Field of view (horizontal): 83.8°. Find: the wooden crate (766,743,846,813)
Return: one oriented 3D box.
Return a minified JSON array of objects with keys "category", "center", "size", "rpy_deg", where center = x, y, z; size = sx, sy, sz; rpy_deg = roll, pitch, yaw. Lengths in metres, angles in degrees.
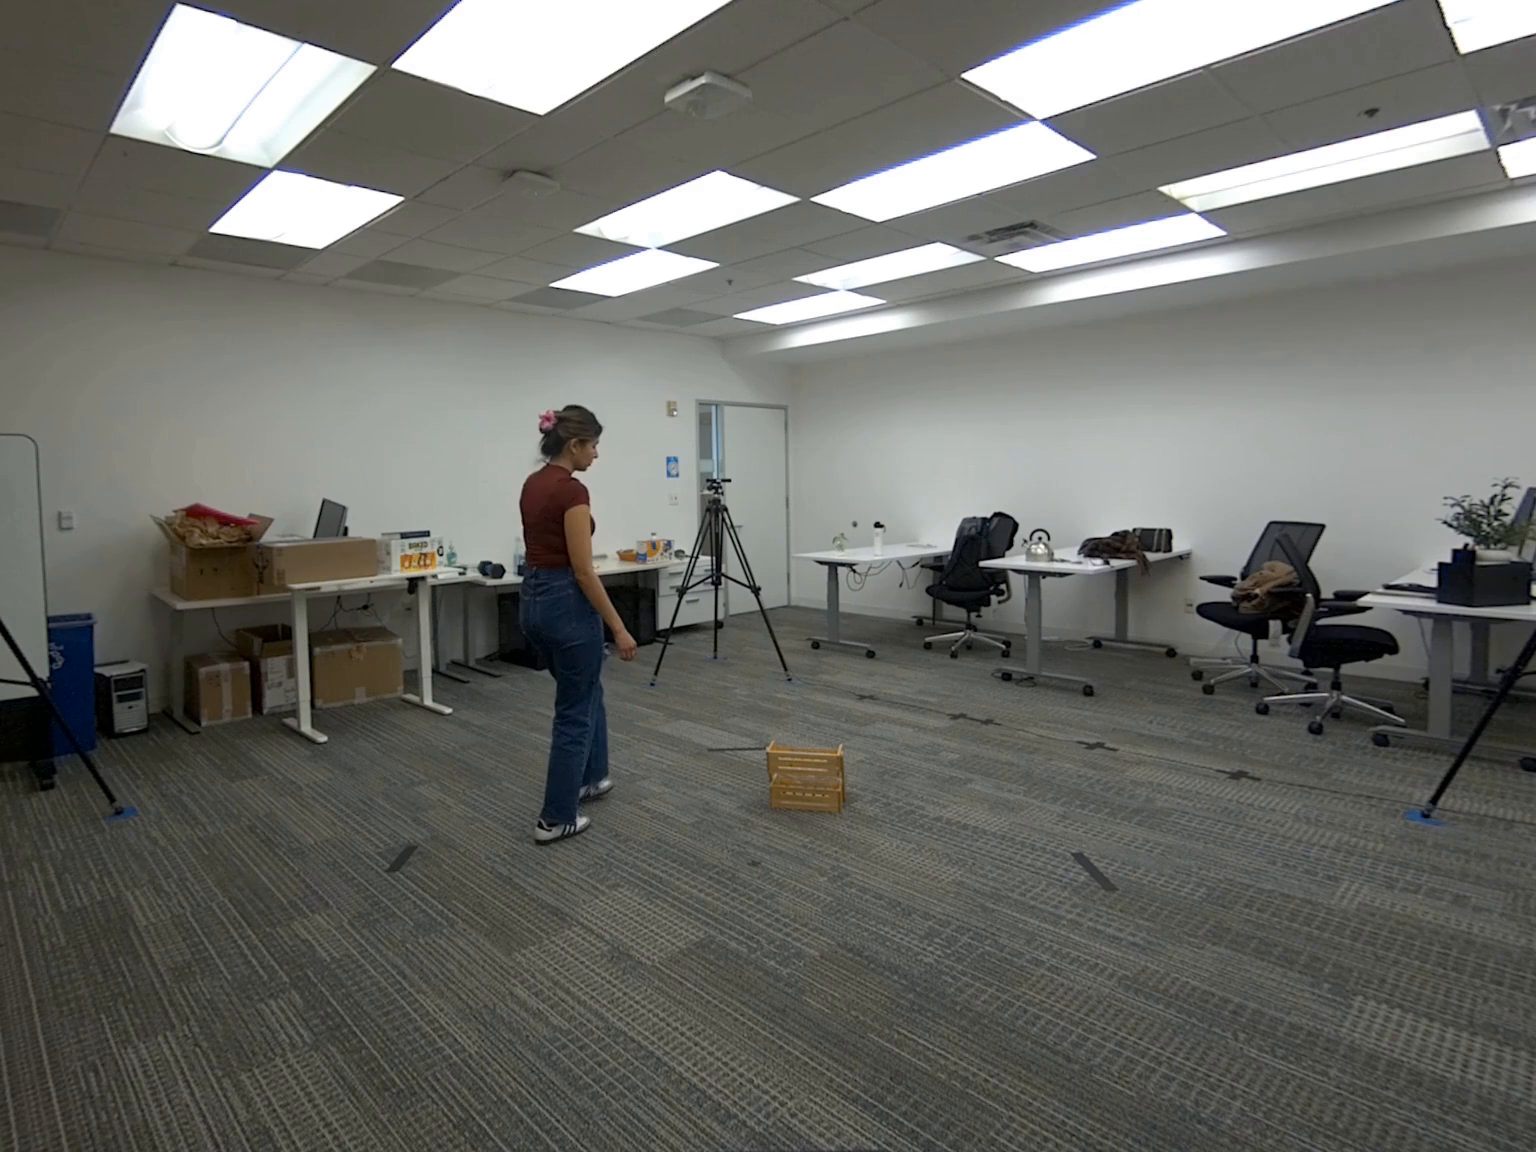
[{"category":"wooden crate","center":[0.172,0.842,3.693],"size":[0.328,0.272,0.299],"rpy_deg":[0,5,11]}]
